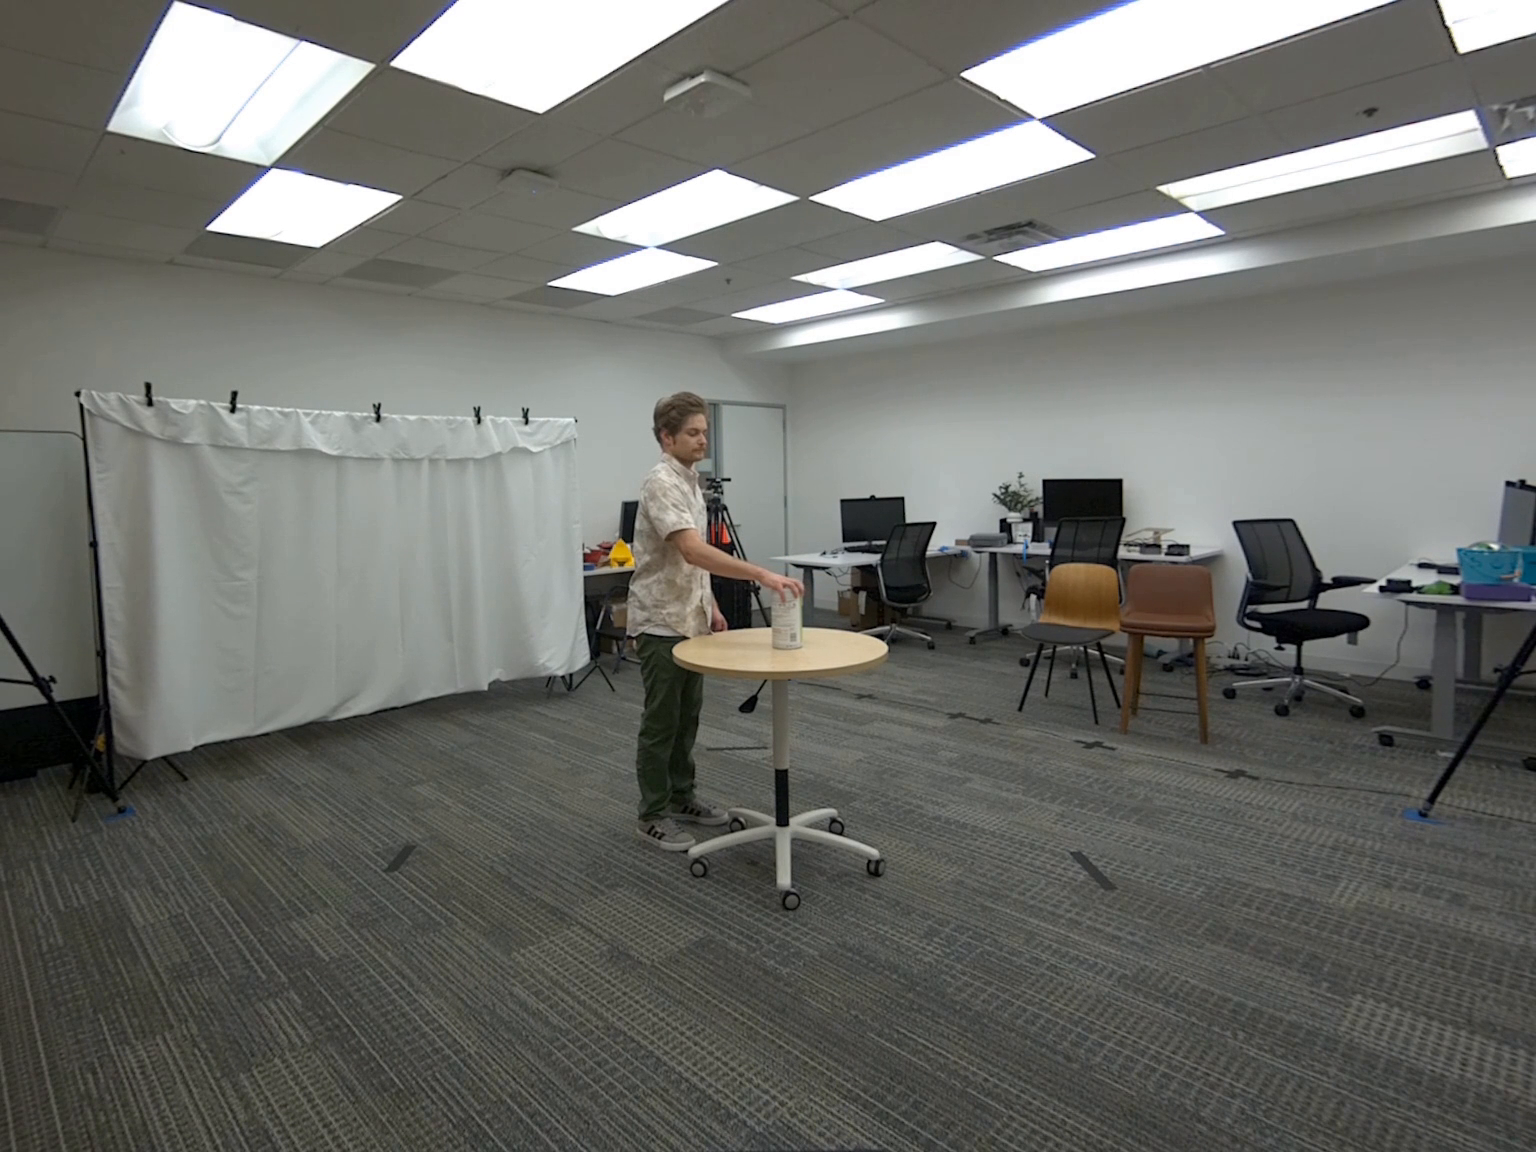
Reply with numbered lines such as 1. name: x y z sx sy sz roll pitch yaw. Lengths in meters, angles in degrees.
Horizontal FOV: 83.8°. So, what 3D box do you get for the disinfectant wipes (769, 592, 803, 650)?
1. disinfectant wipes: 0.071 0.149 3.046 0.118 0.216 0.118 -1 4 -2
